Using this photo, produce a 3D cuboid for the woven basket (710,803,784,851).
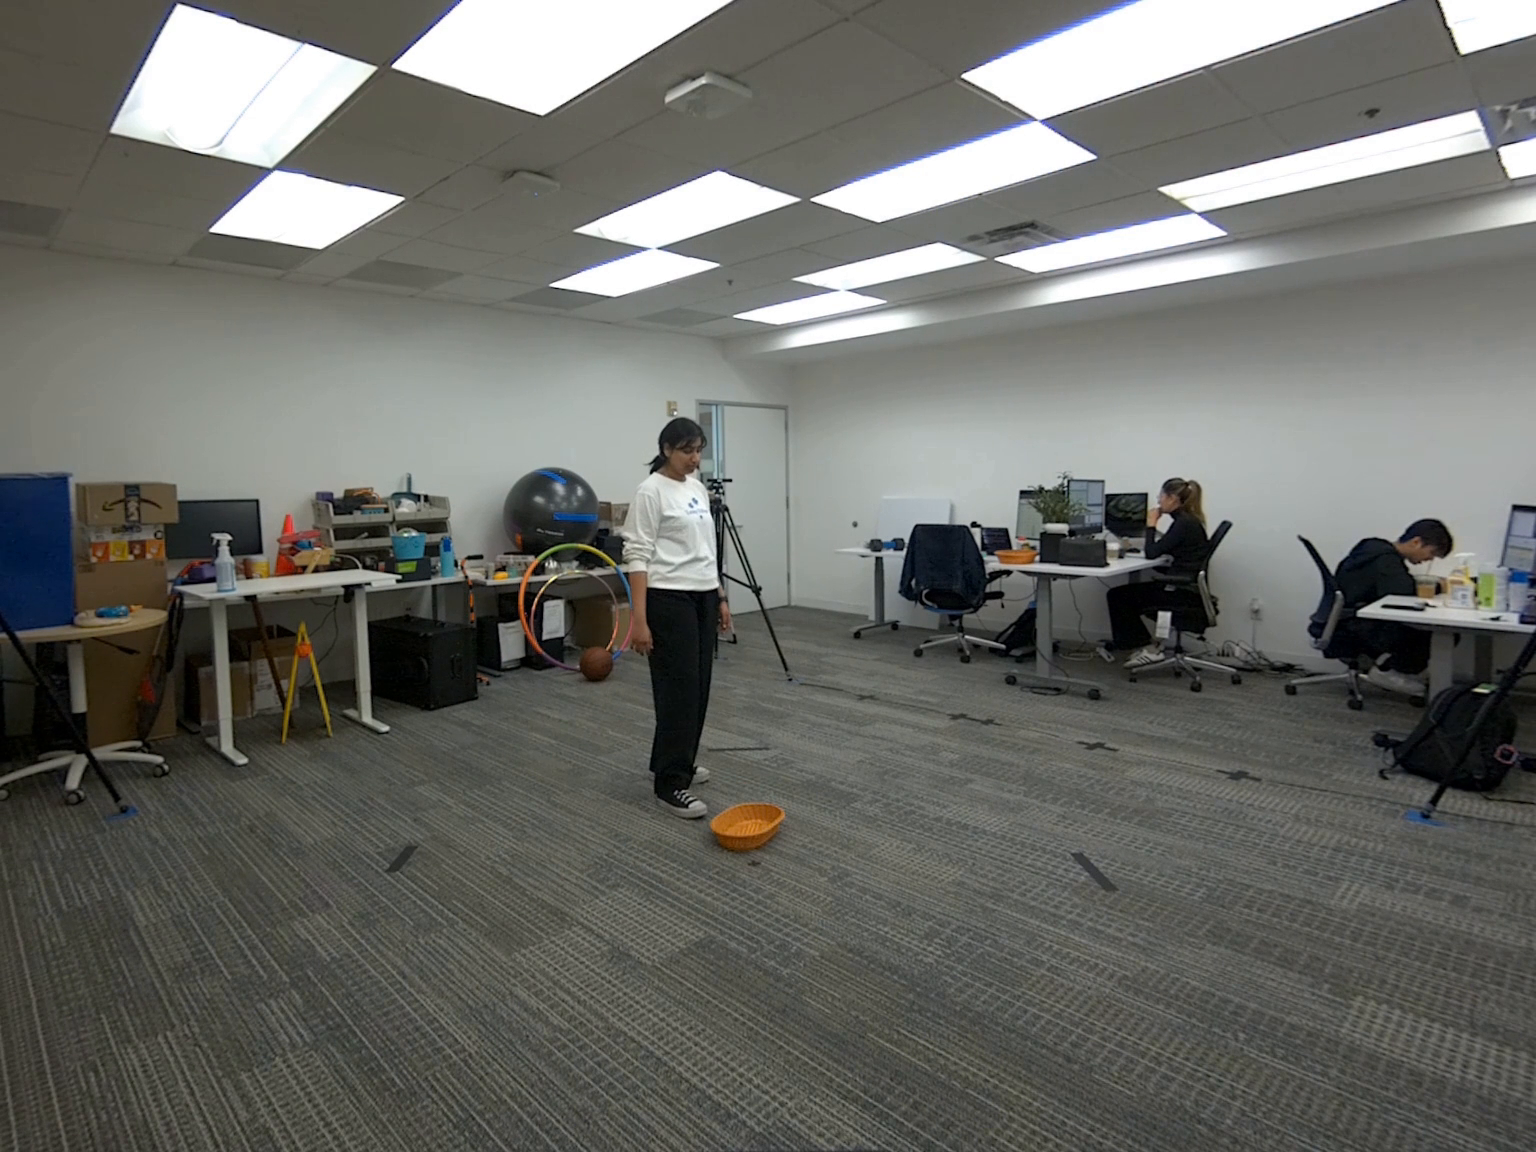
[{"bbox_3d":[-0.081,0.977,3.346,0.259,0.073,0.343,1,7,32],"label":"woven basket"}]
